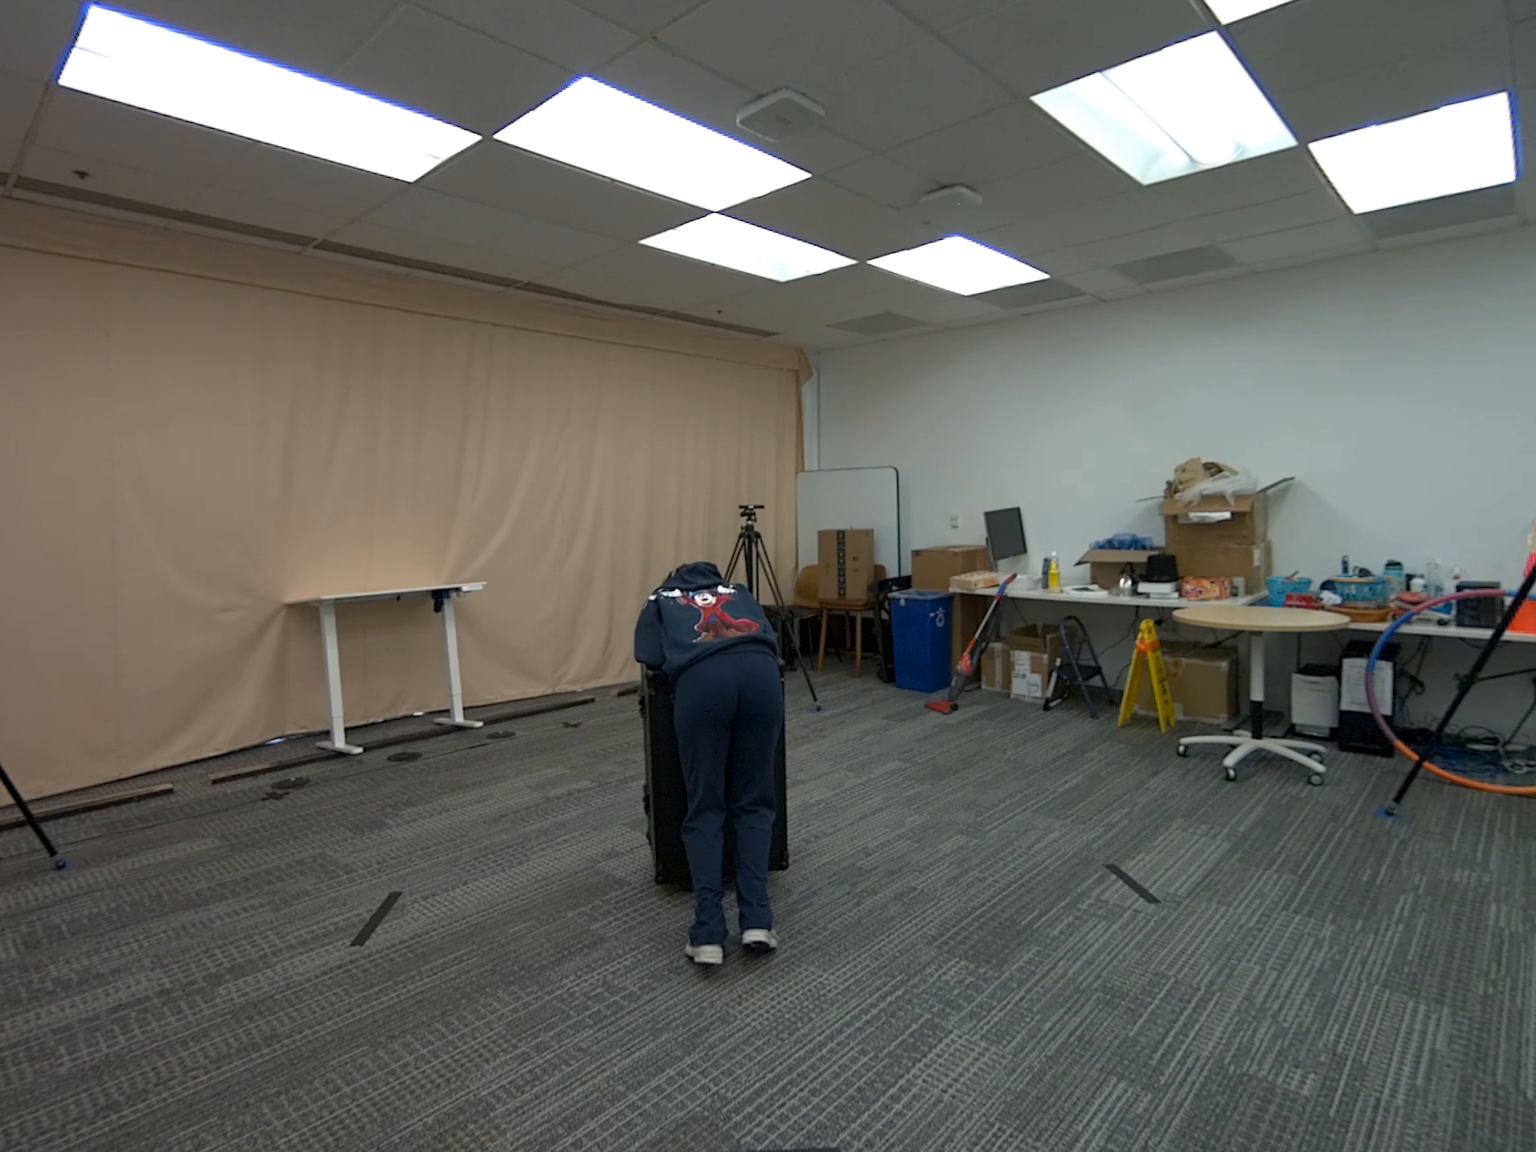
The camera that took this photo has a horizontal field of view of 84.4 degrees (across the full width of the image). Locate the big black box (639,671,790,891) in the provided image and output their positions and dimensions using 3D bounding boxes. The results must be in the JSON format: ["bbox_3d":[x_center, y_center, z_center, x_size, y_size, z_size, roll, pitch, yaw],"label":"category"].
[{"bbox_3d":[-0.195,0.699,3.109,0.516,0.856,0.403,-3,10,-10],"label":"big black box"}]
